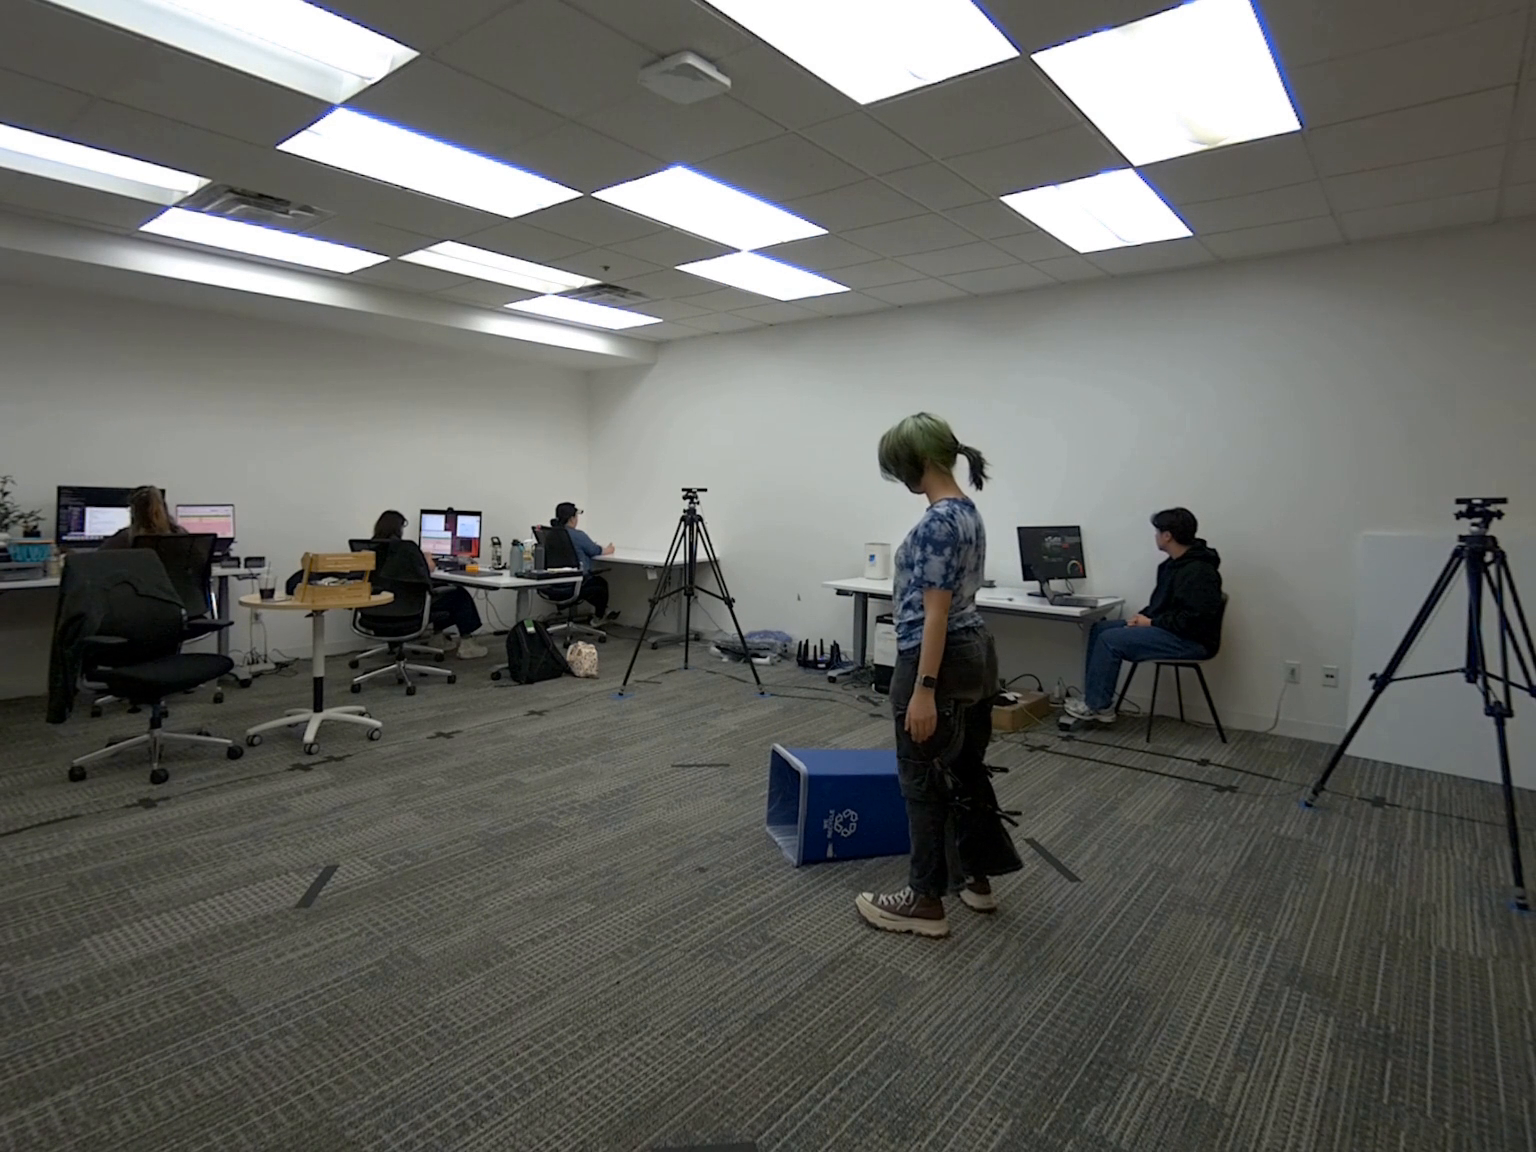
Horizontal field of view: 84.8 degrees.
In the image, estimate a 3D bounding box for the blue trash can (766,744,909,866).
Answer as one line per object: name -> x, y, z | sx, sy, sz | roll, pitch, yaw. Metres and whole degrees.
blue trash can -> 0.379, 0.879, 3.390 | 0.701, 0.373, 0.386 | 2, 4, -17
